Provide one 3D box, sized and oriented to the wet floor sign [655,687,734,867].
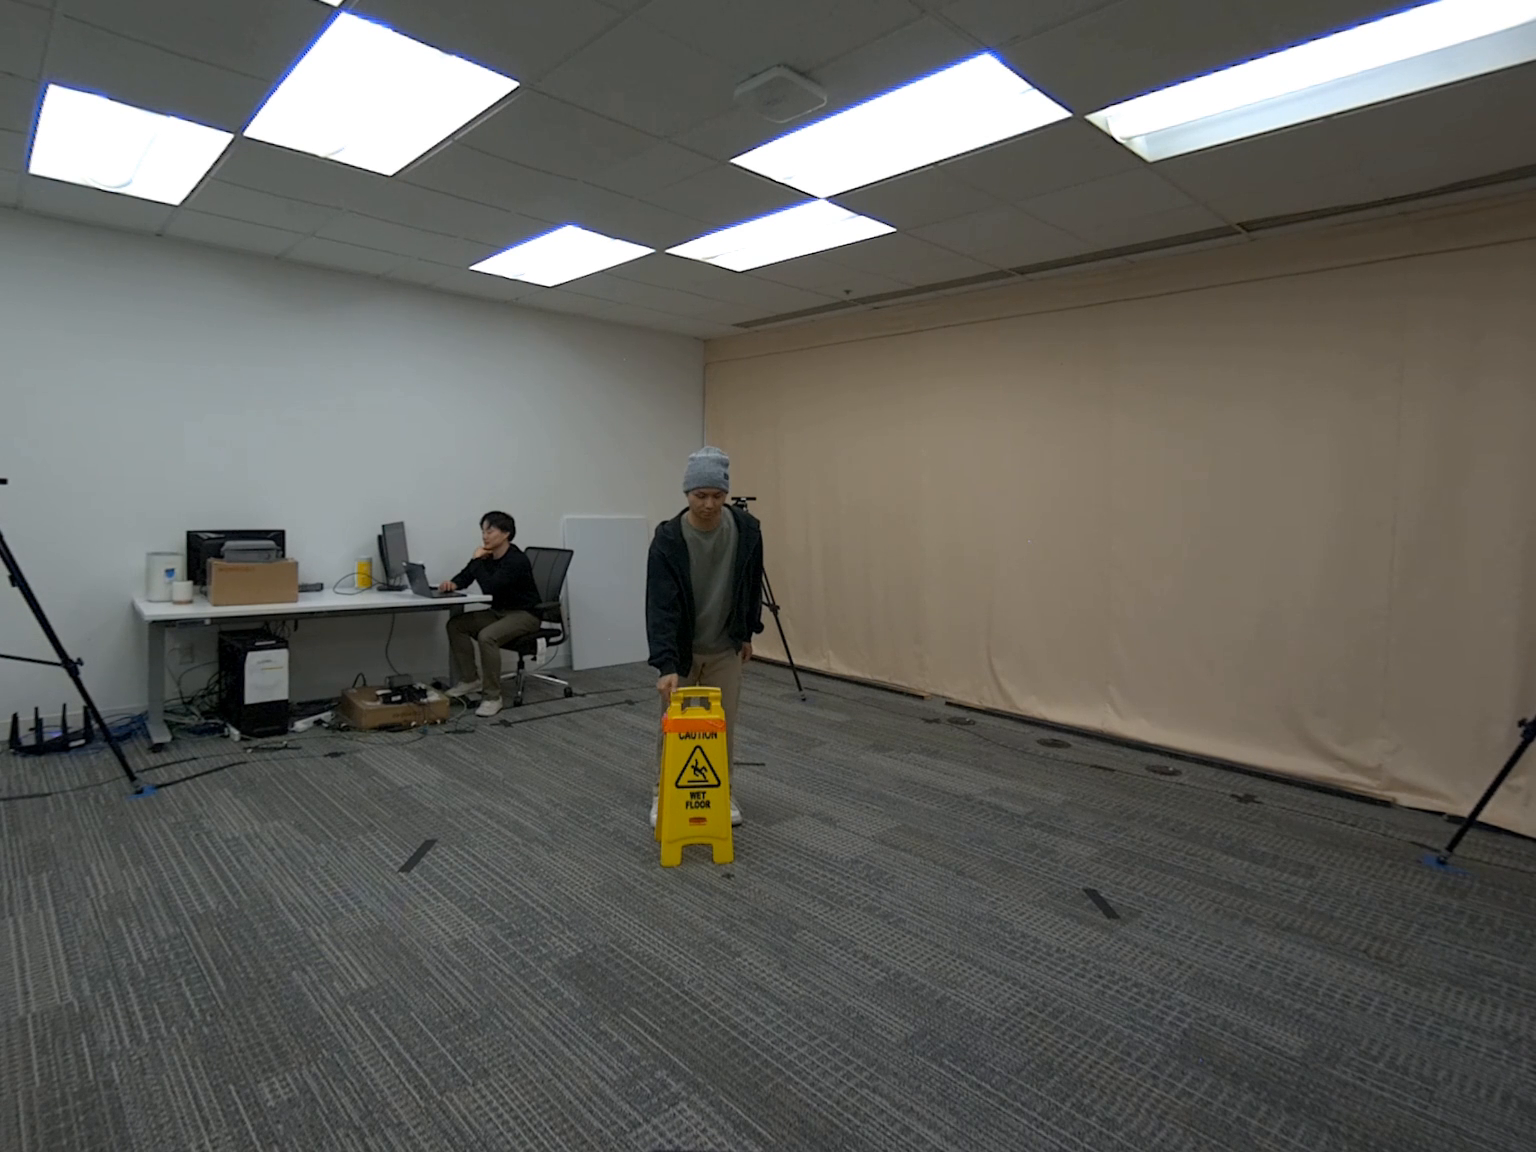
[{"bbox_3d":[-0.304,0.756,3.307,0.280,0.644,0.293,2,4,-12],"label":"wet floor sign"}]
